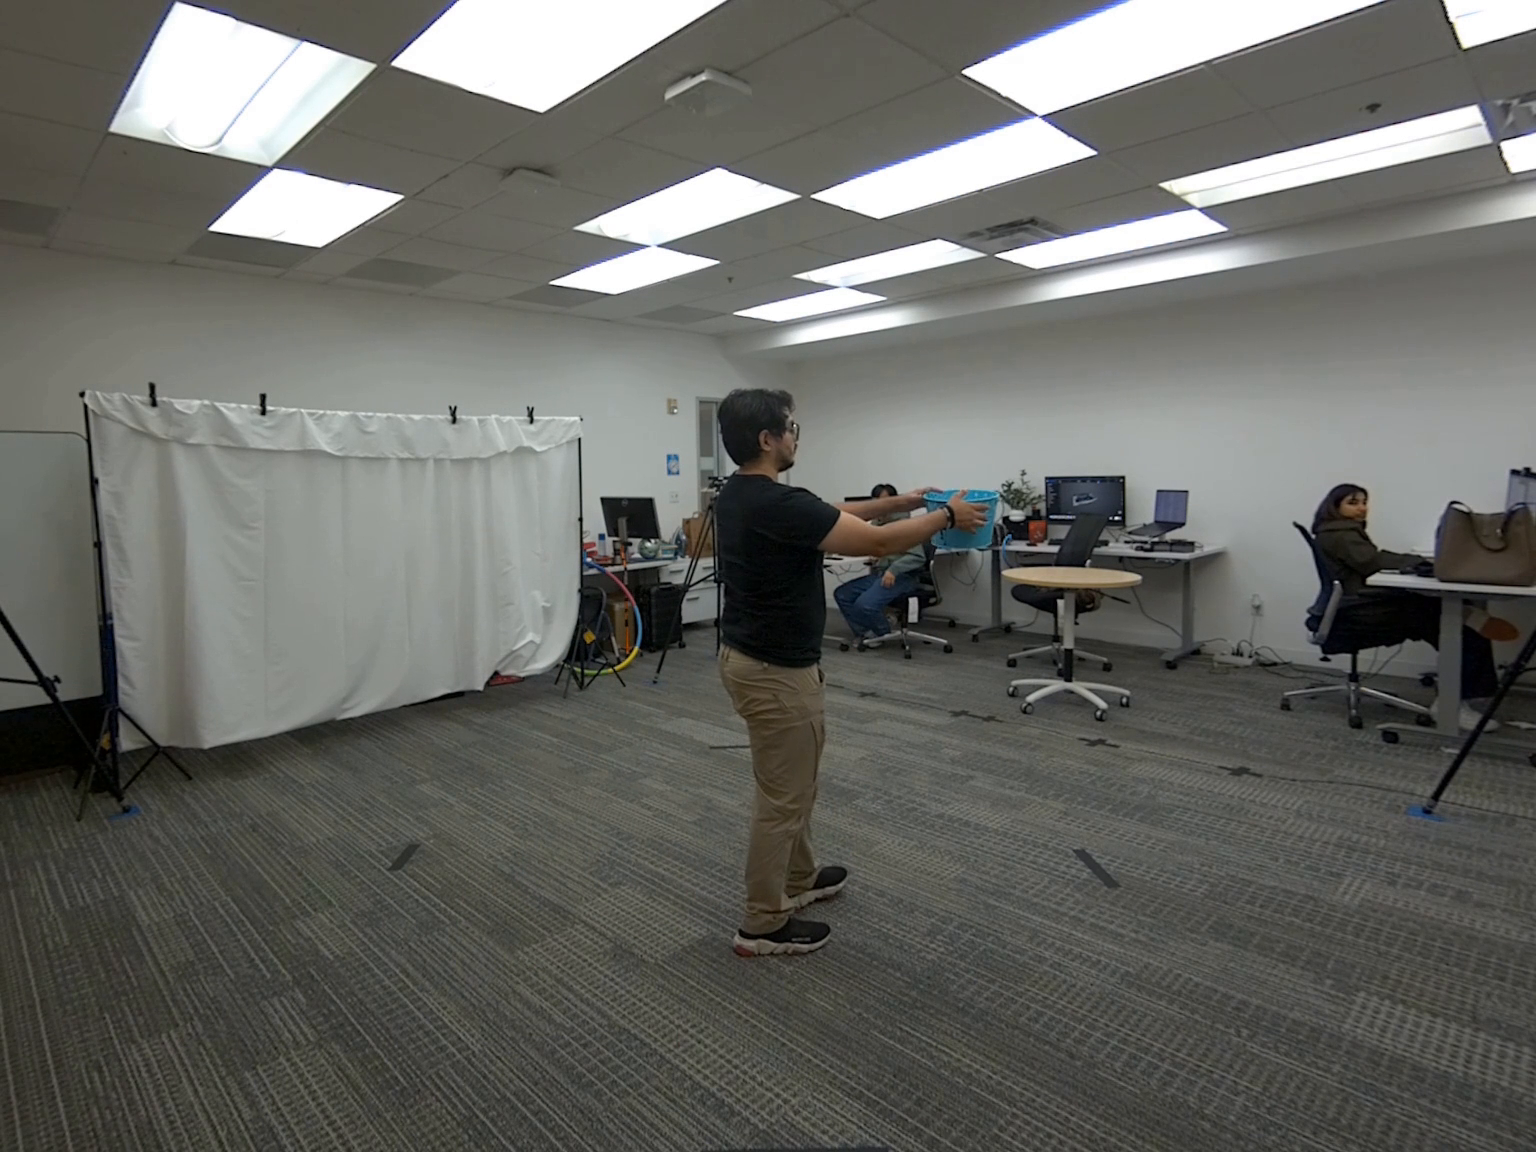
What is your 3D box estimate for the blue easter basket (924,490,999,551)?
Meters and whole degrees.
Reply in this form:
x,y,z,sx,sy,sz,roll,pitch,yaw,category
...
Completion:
x,y,z,sx,sy,sz,roll,pitch,yaw,category
0.610,-0.176,2.657,0.243,0.154,0.246,-4,12,-1,blue easter basket
